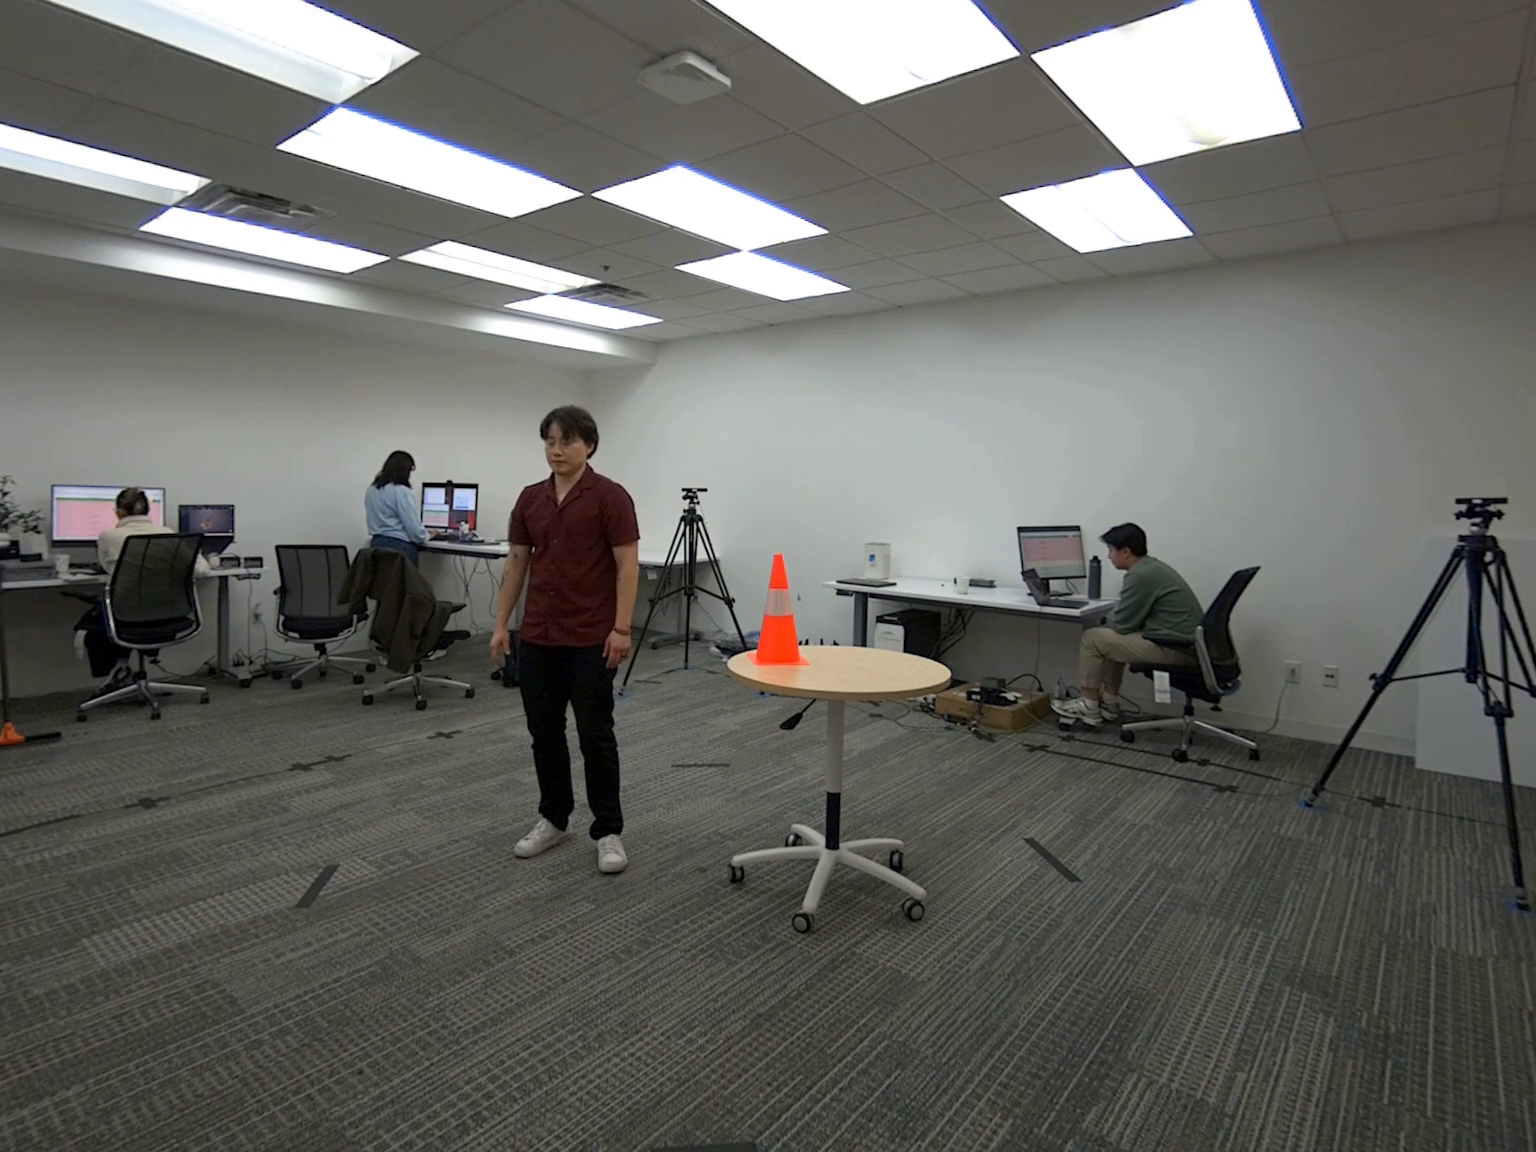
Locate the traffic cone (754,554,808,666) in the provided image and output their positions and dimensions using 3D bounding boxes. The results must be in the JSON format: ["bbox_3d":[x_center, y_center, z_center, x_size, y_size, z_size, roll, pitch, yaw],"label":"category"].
[{"bbox_3d":[0.022,0.108,3.043,0.202,0.383,0.206,-3,2,-14],"label":"traffic cone"}]
